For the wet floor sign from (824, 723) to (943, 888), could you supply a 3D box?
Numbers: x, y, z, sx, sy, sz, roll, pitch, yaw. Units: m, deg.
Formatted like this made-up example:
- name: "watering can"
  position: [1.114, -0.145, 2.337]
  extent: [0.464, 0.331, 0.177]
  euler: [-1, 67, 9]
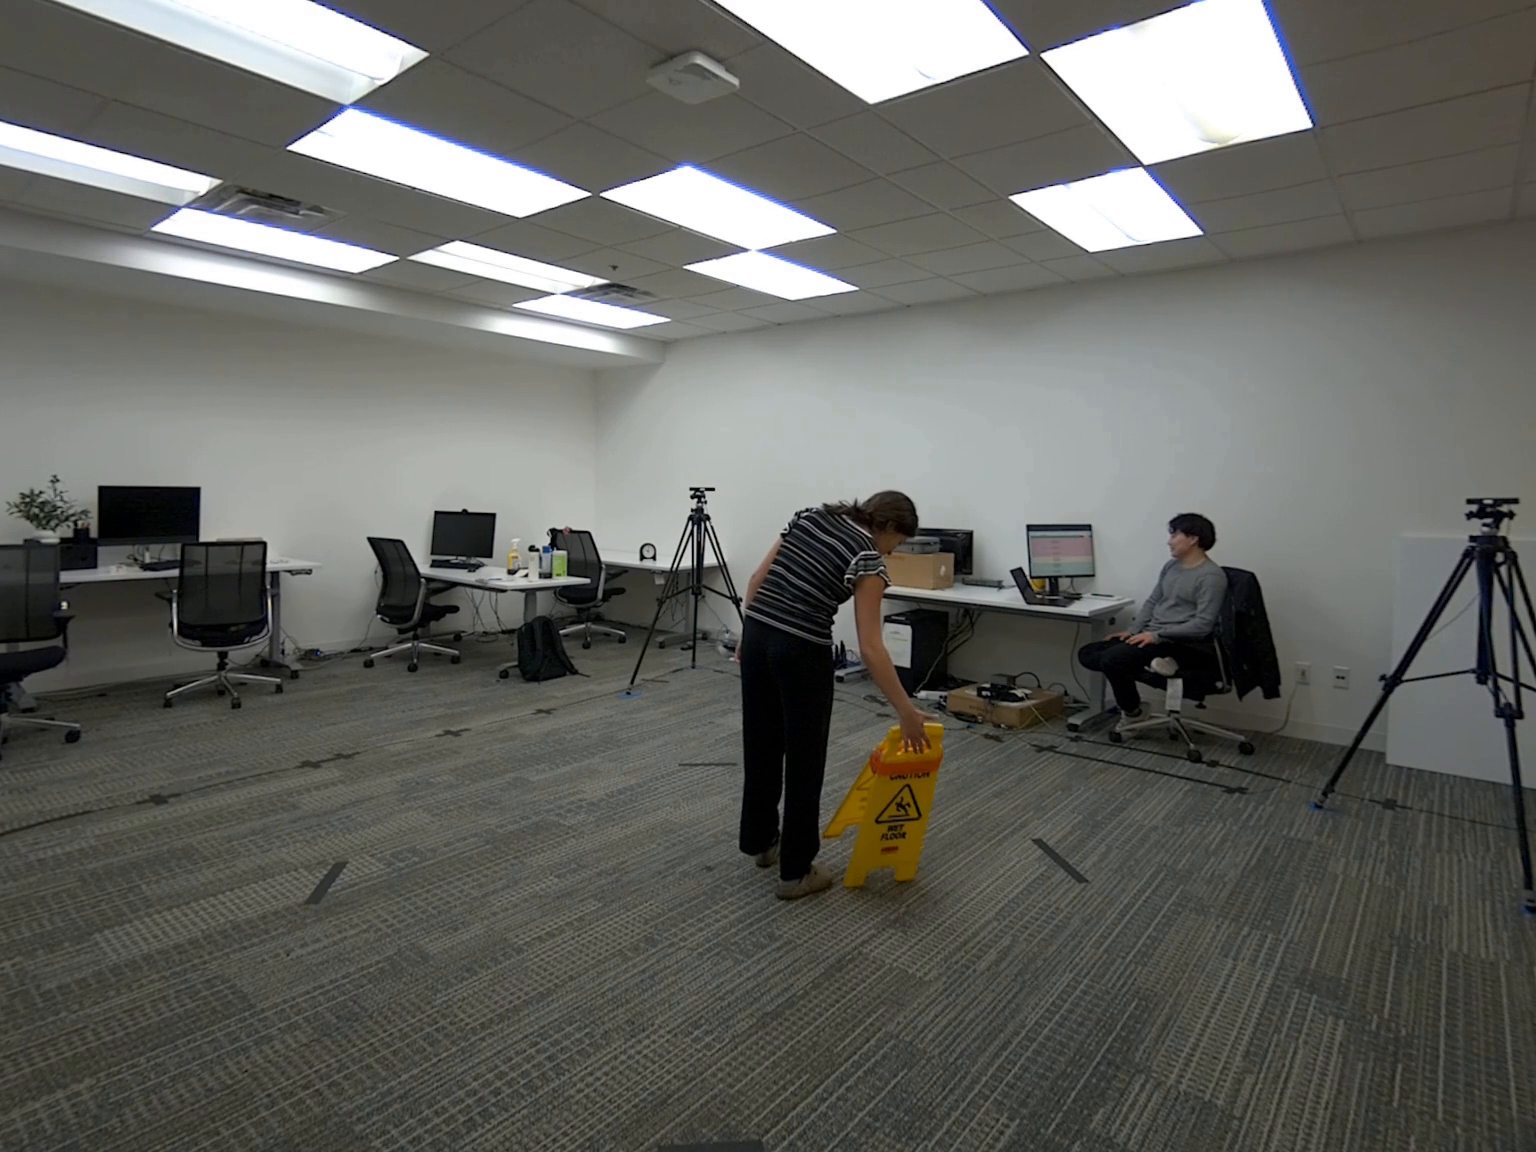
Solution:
- name: "wet floor sign"
  position: [0.420, 0.766, 2.941]
  extent: [0.276, 0.634, 0.301]
  euler: [1, 32, -21]
